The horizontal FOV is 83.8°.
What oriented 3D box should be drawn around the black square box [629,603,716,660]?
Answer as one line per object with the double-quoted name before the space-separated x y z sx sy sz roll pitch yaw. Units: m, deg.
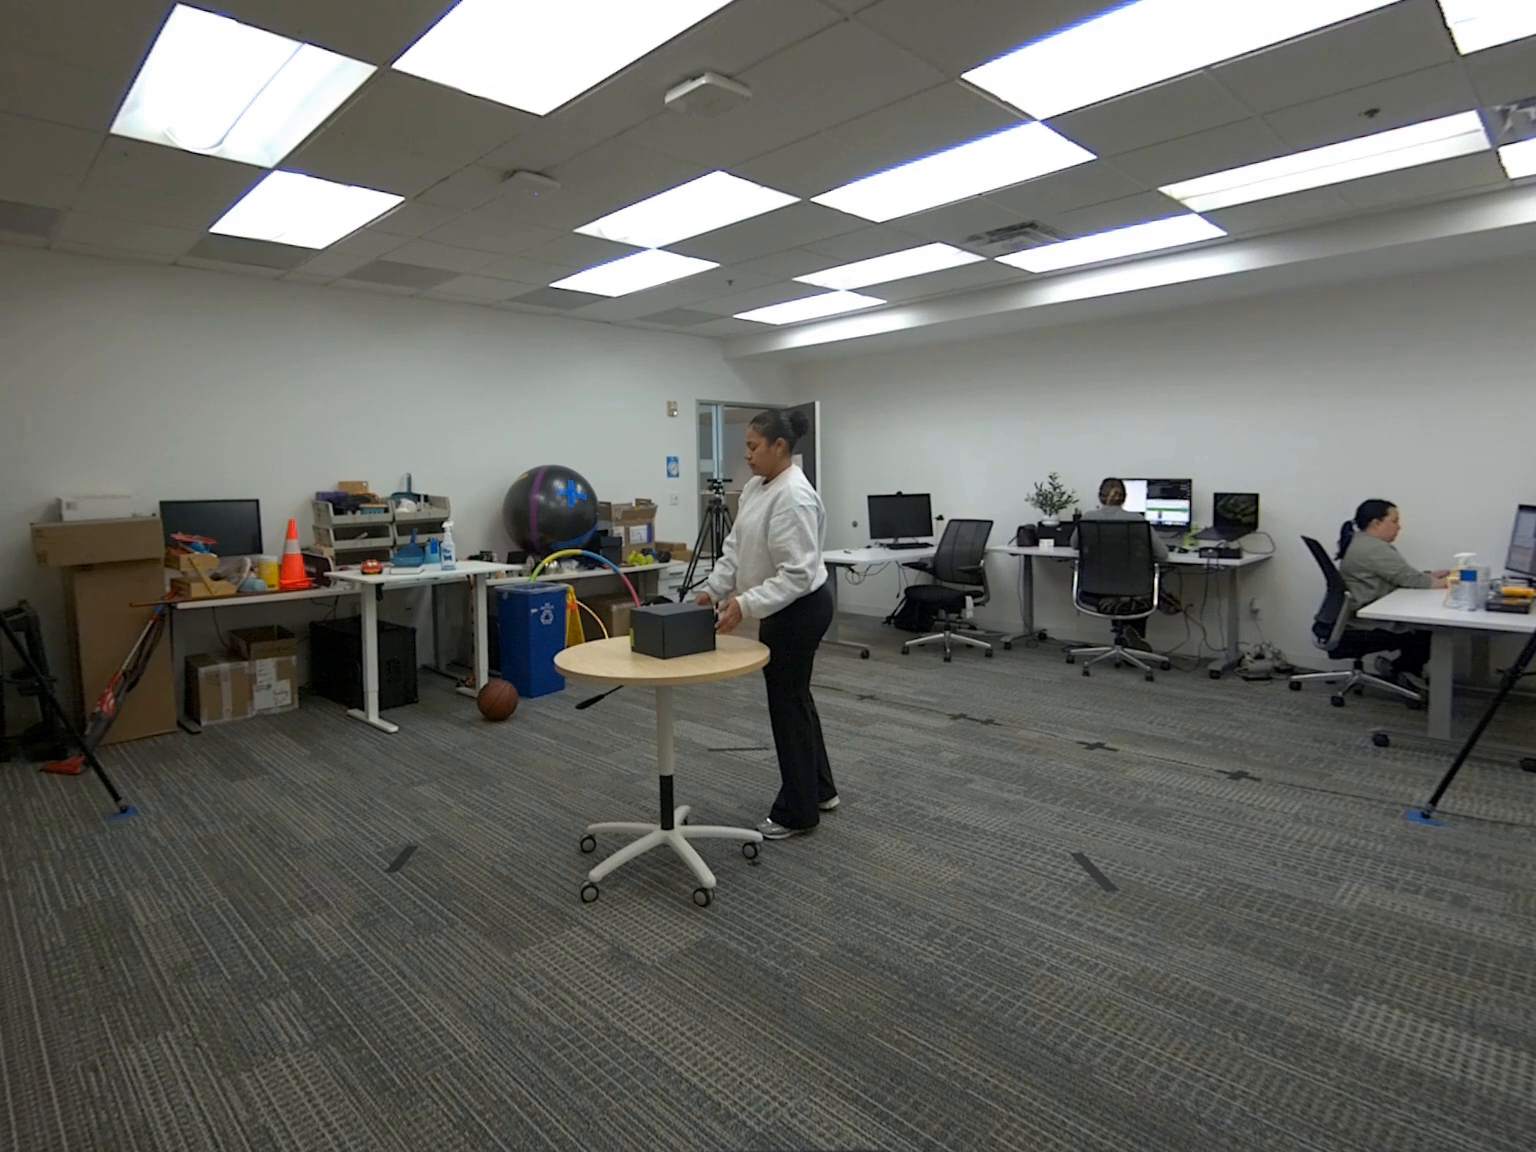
"black square box" -0.342 0.189 3.076 0.222 0.155 0.223 -6 7 -40
